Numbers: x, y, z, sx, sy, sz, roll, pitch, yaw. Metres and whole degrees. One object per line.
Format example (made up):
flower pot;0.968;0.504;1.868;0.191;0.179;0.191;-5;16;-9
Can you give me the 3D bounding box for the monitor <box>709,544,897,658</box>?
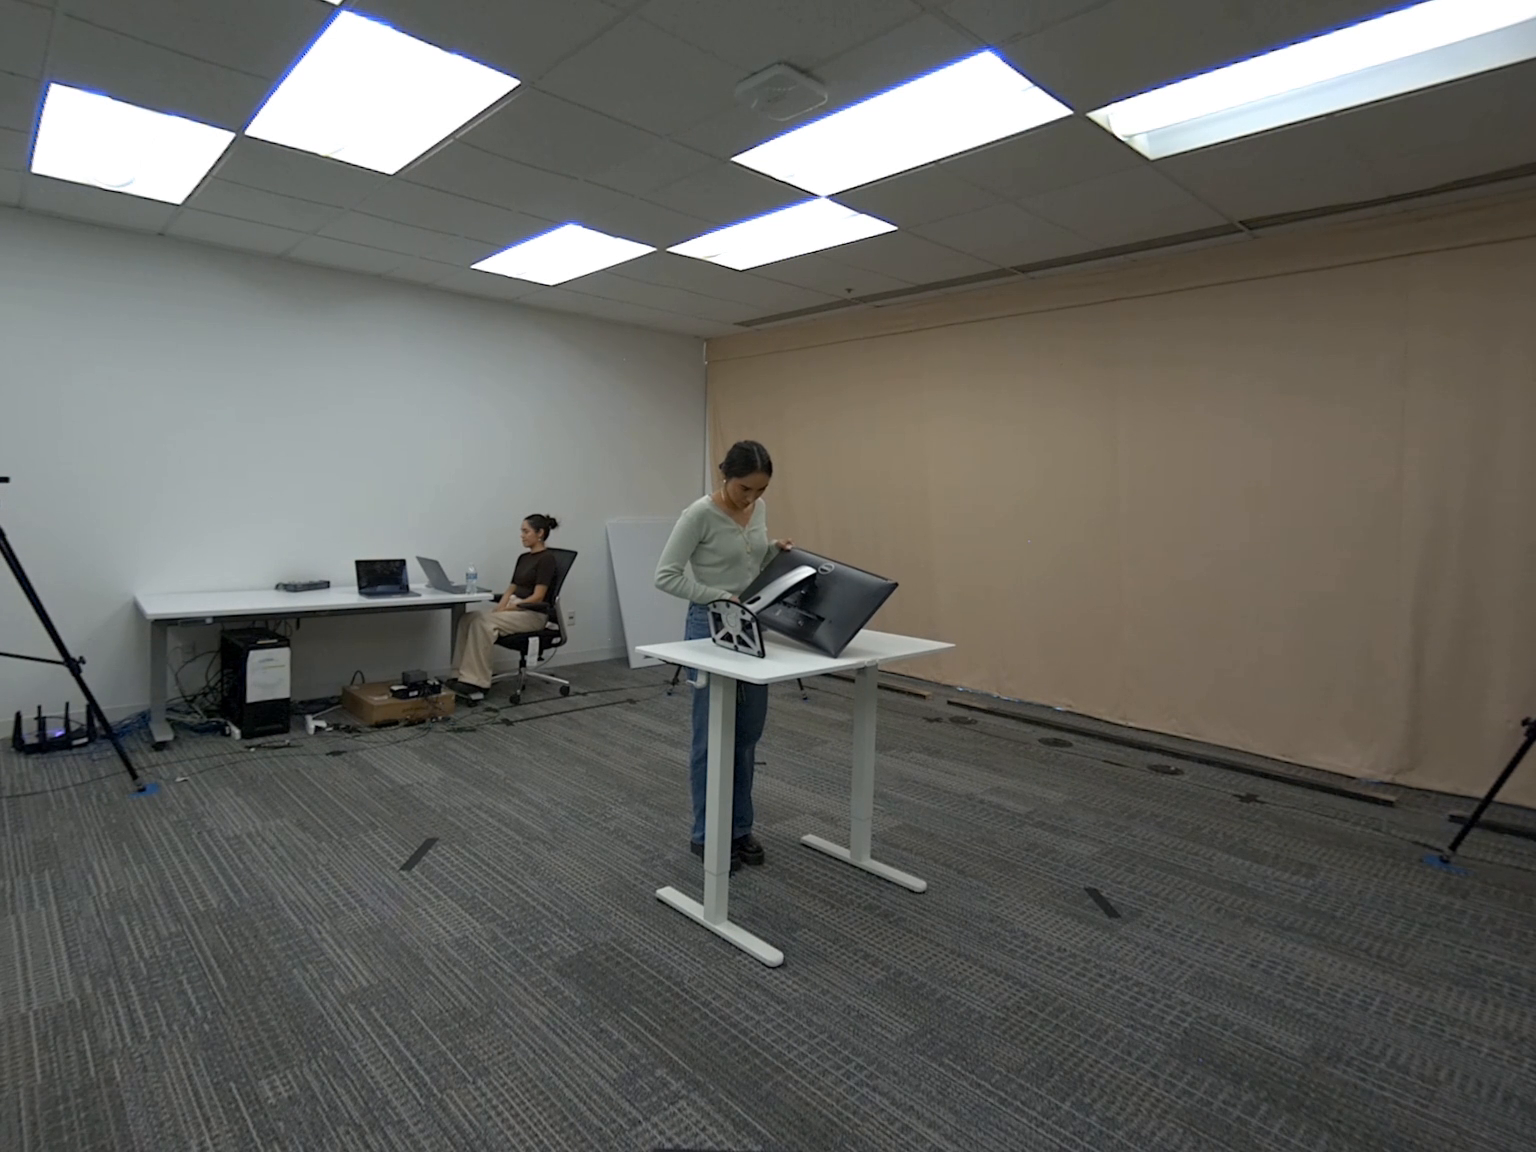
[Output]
monitor;0.077;0.078;2.837;0.517;0.183;0.555;-29;35;-37
